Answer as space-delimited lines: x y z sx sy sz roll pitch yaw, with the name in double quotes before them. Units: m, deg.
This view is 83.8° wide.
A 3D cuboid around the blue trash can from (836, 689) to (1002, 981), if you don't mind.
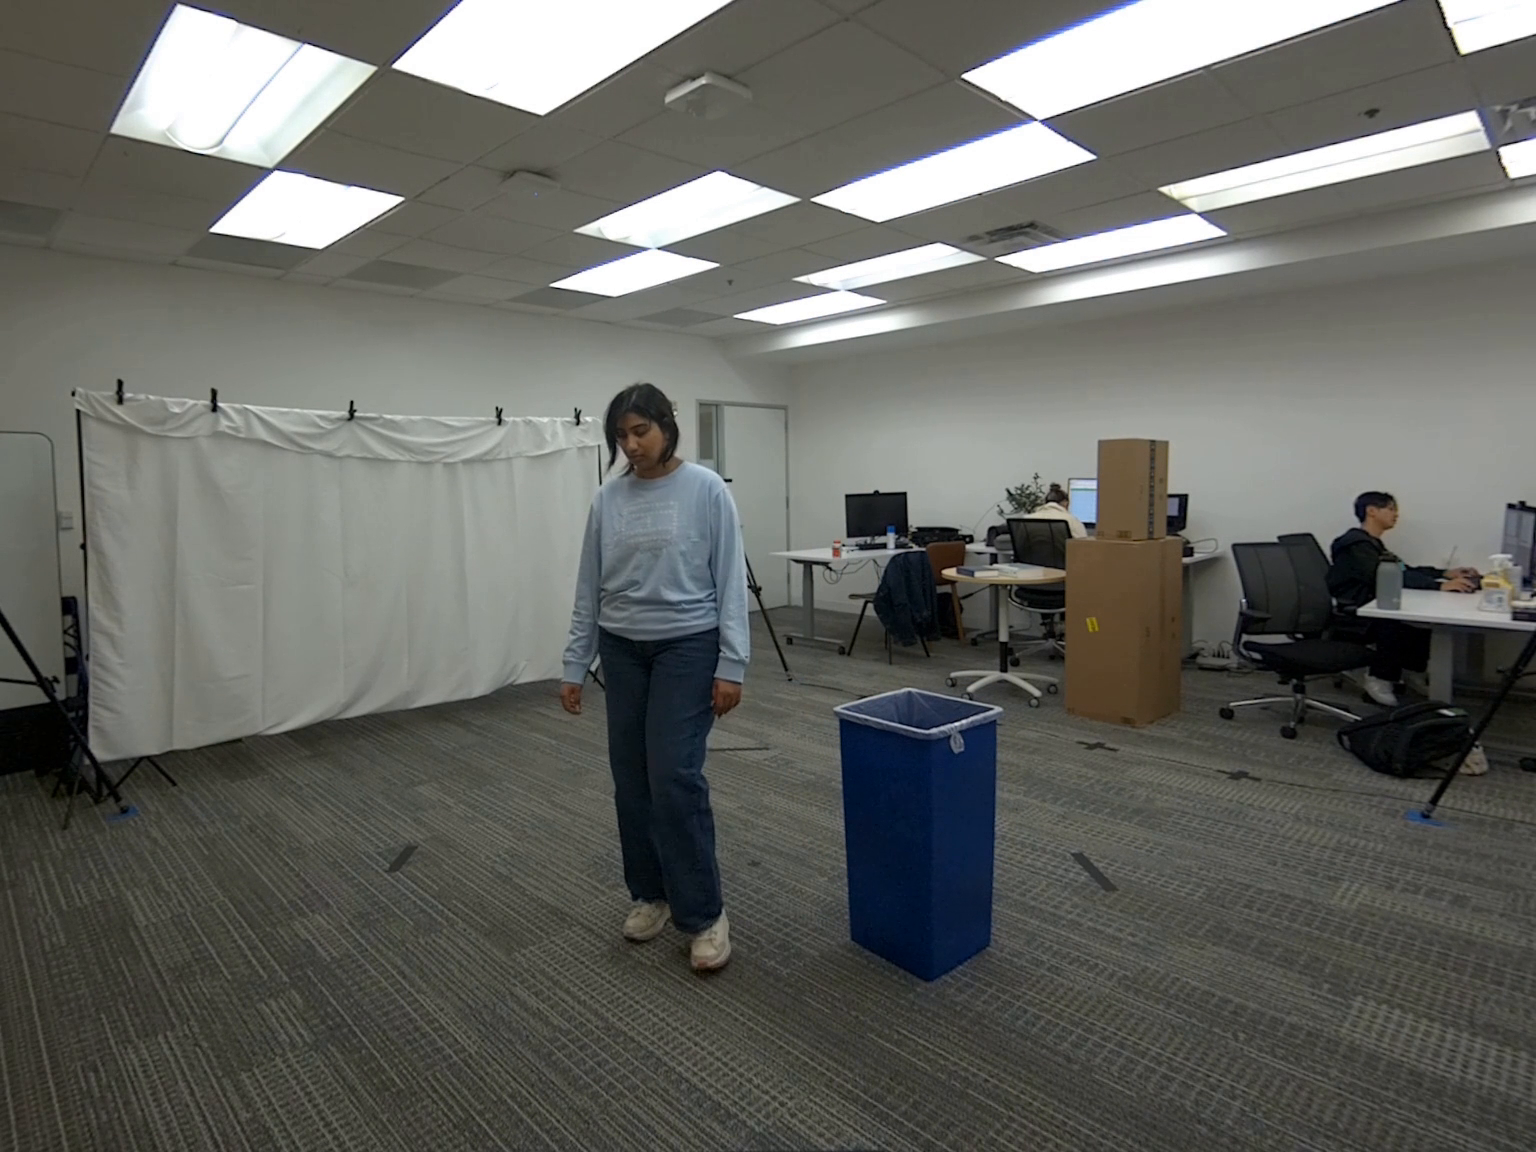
"blue trash can" 0.444 0.740 2.548 0.368 0.711 0.385 -4 5 -40
